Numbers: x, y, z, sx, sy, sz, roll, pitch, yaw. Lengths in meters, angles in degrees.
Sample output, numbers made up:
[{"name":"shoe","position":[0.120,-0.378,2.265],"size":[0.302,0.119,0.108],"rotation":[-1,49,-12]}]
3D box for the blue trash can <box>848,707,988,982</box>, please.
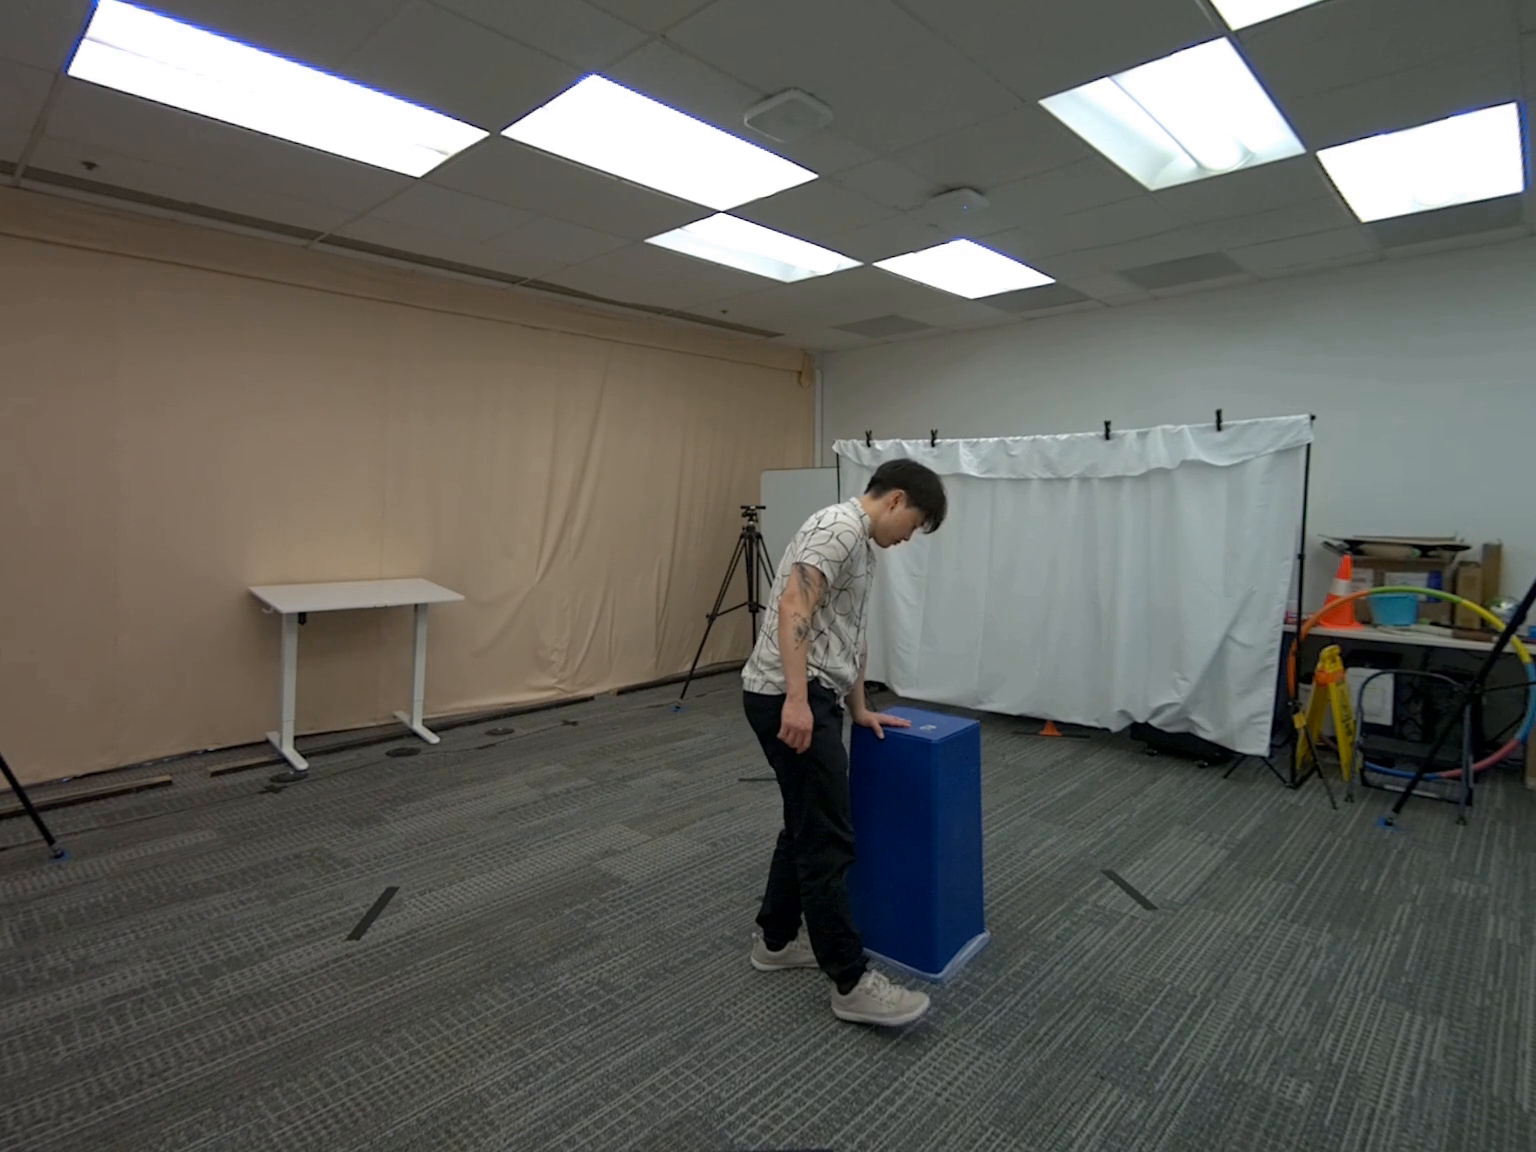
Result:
[{"name":"blue trash can","position":[0.477,0.816,2.666],"size":[0.387,0.711,0.366],"rotation":[4,6,41]}]
